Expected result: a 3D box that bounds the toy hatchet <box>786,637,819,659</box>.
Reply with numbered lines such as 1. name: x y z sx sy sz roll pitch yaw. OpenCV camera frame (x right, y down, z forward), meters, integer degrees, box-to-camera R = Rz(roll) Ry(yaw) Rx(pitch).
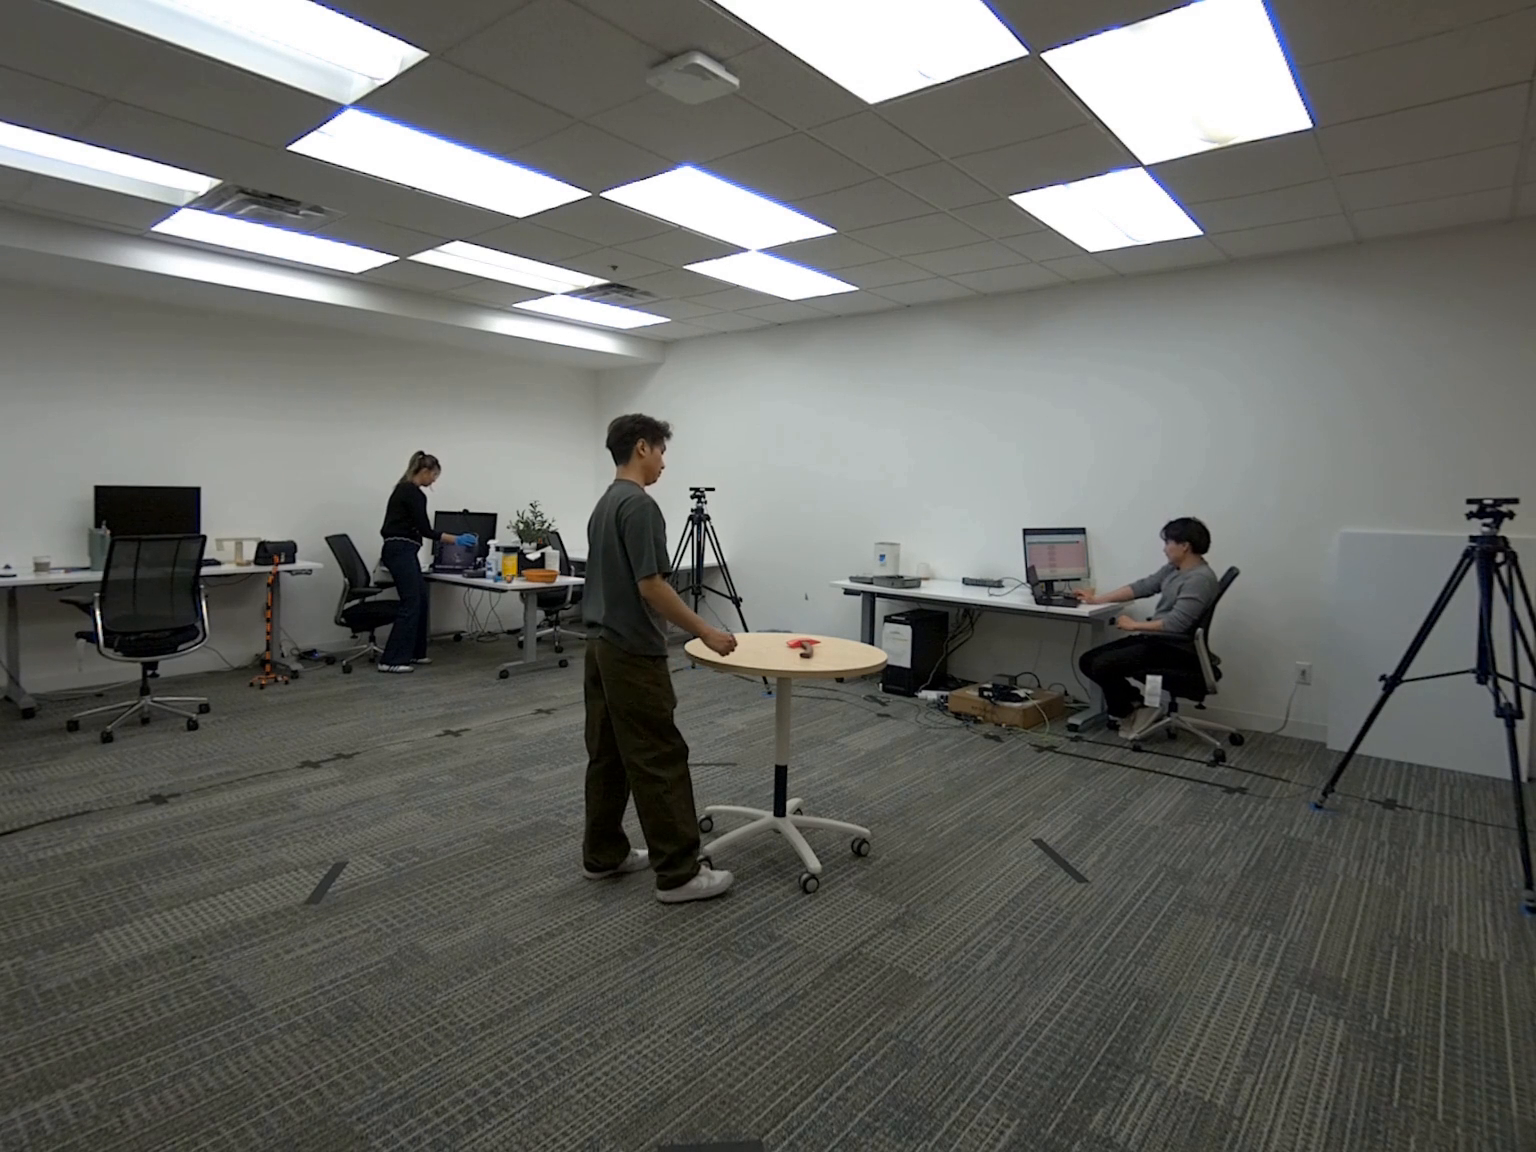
1. toy hatchet: 0.112 0.268 3.215 0.133 0.029 0.267 3 6 12
